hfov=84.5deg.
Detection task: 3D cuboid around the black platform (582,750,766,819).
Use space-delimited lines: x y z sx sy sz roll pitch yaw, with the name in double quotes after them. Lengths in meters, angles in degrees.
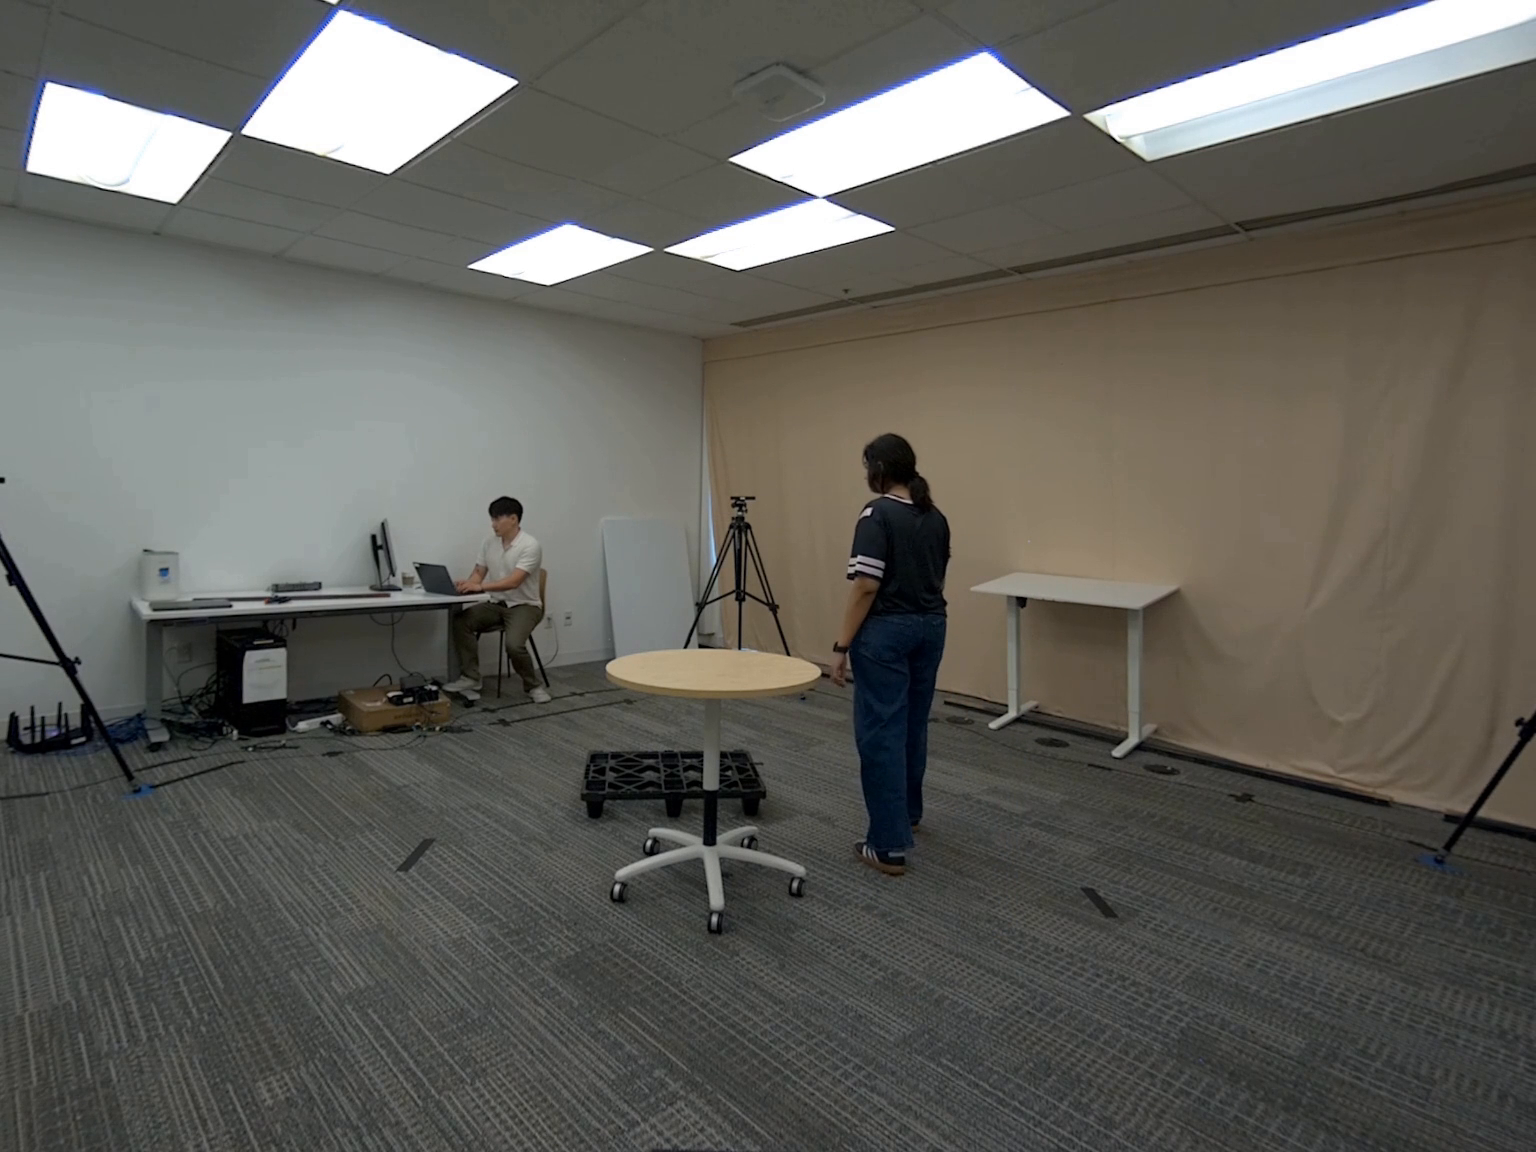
-0.448 0.960 3.892 0.801 0.143 0.610 1 6 -7 "black platform"
